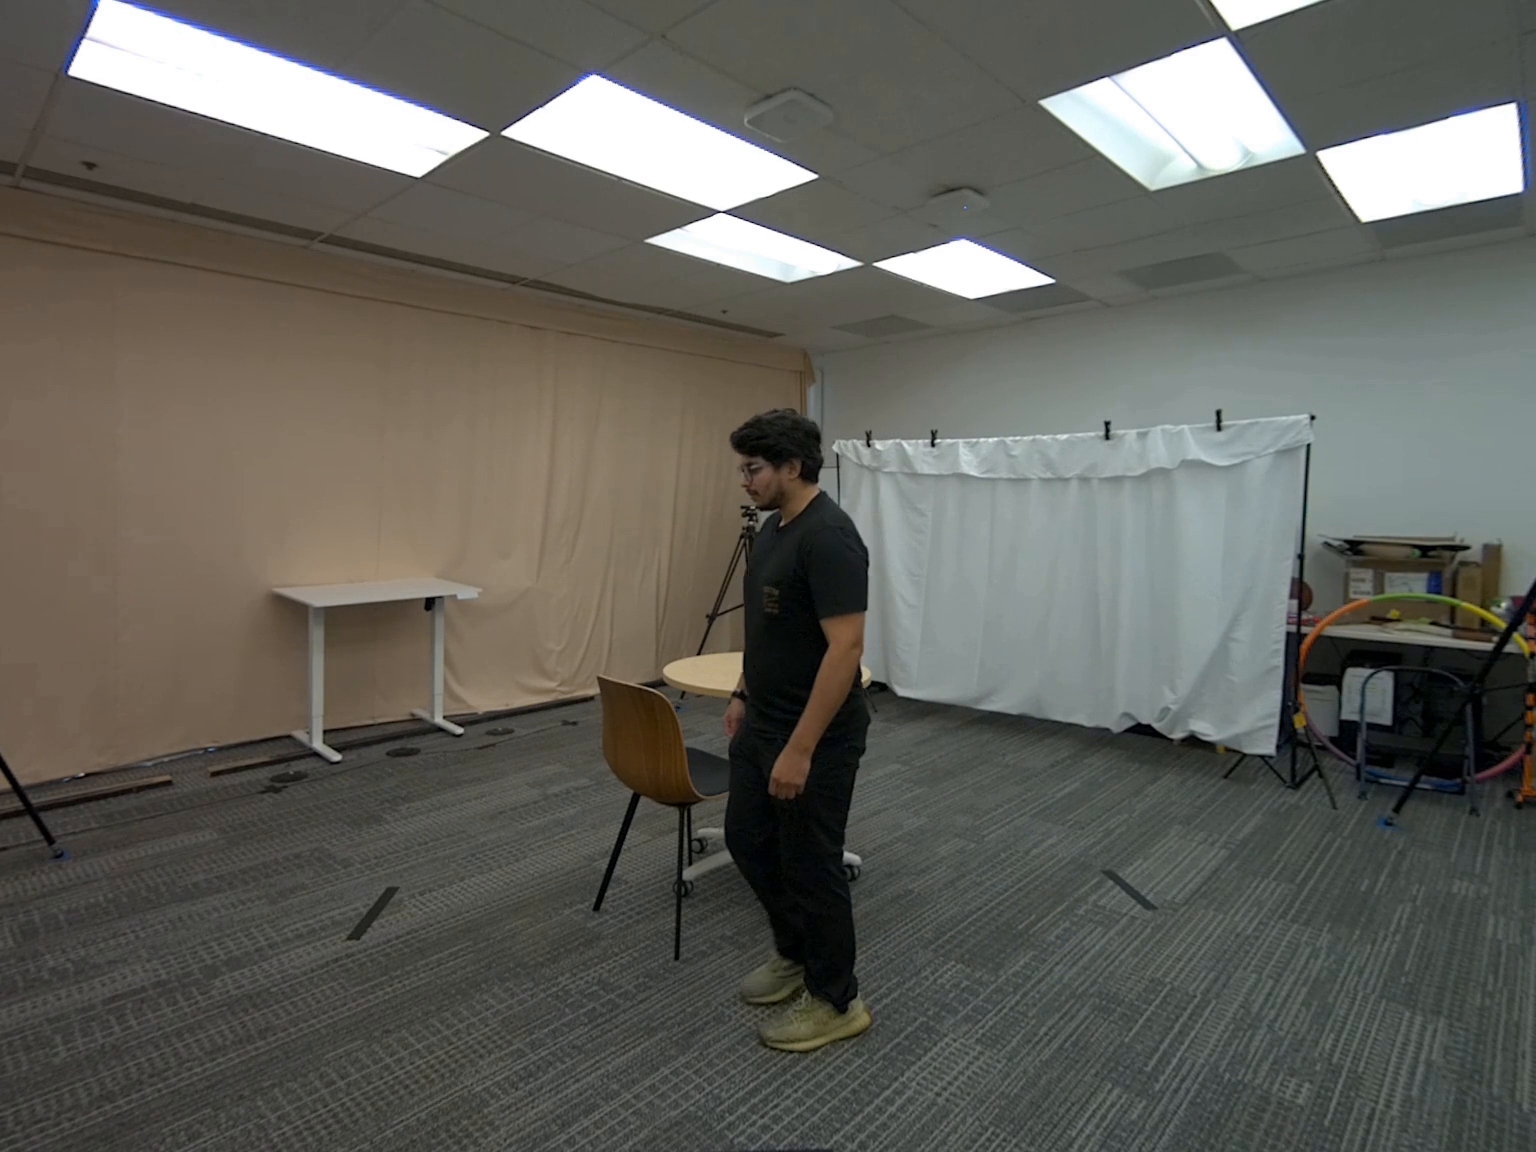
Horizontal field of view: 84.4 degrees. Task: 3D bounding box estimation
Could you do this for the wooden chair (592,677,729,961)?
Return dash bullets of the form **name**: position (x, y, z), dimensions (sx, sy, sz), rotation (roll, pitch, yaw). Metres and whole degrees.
- **wooden chair**: position (-0.275, 0.723, 2.868), dimensions (0.508, 0.874, 0.494), rotation (-9, 8, -43)
